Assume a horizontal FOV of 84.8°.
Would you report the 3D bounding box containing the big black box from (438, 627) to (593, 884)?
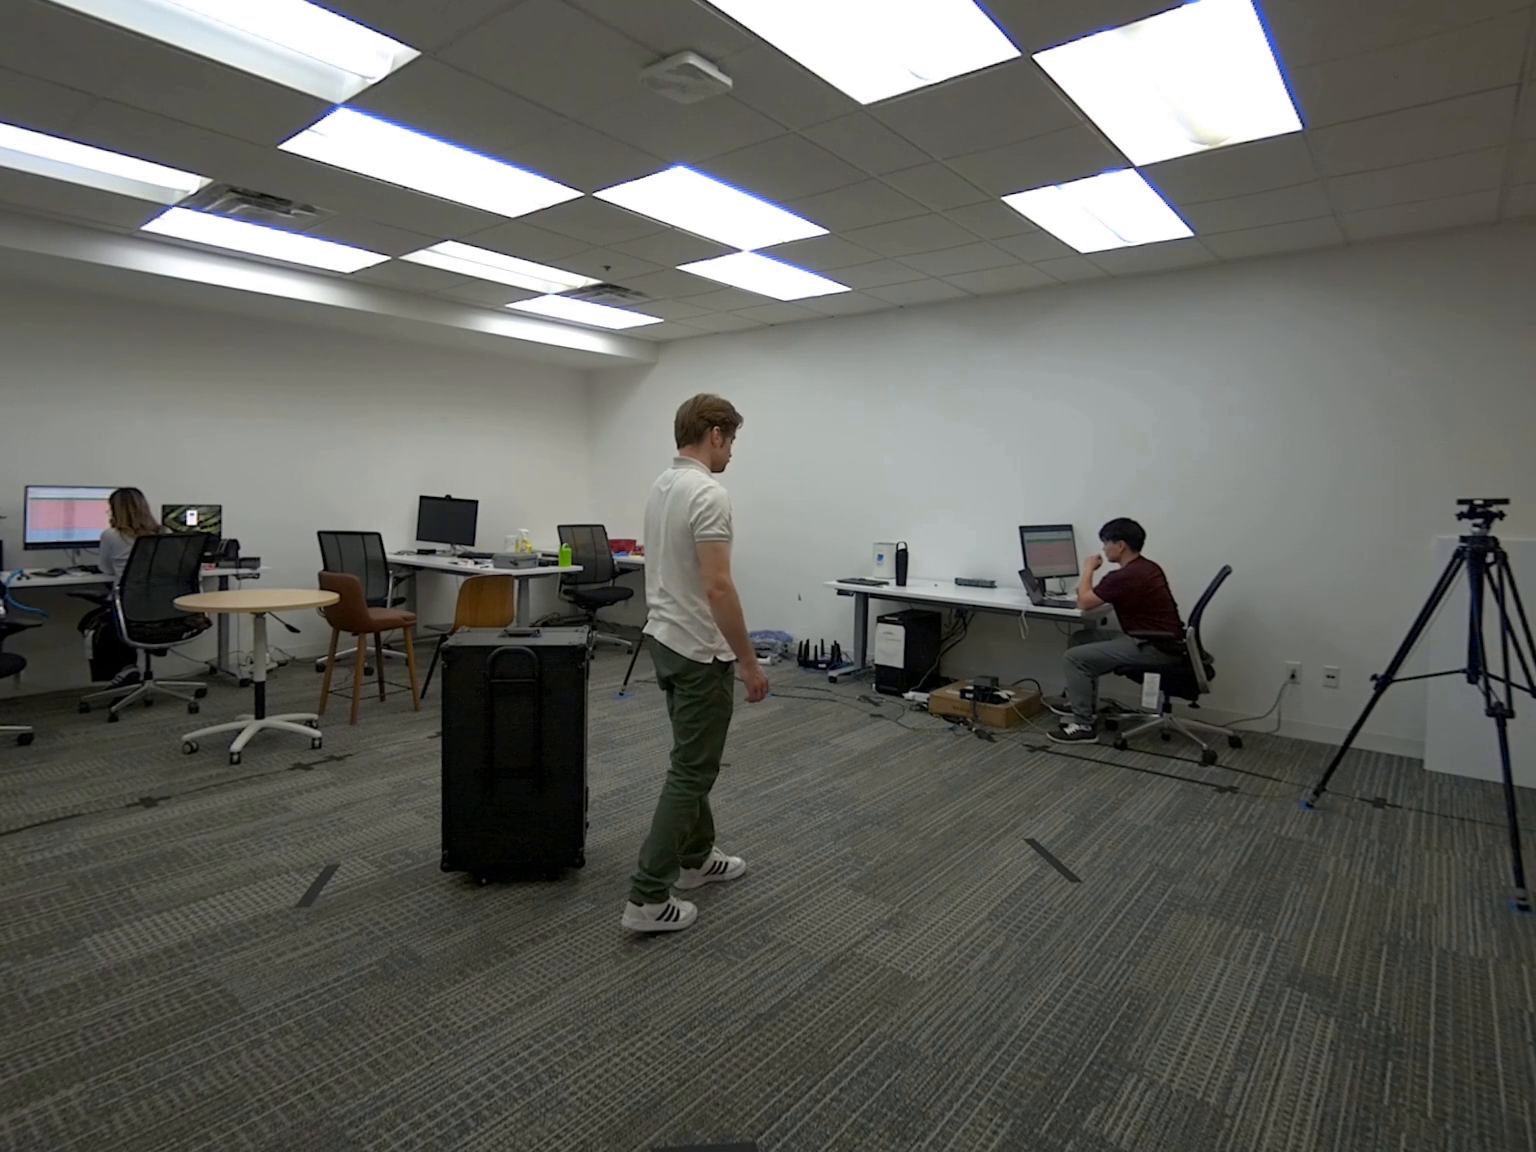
[{"bbox_3d":[-0.907,0.636,3.070,0.518,0.858,0.400,1,4,-7],"label":"big black box"}]
